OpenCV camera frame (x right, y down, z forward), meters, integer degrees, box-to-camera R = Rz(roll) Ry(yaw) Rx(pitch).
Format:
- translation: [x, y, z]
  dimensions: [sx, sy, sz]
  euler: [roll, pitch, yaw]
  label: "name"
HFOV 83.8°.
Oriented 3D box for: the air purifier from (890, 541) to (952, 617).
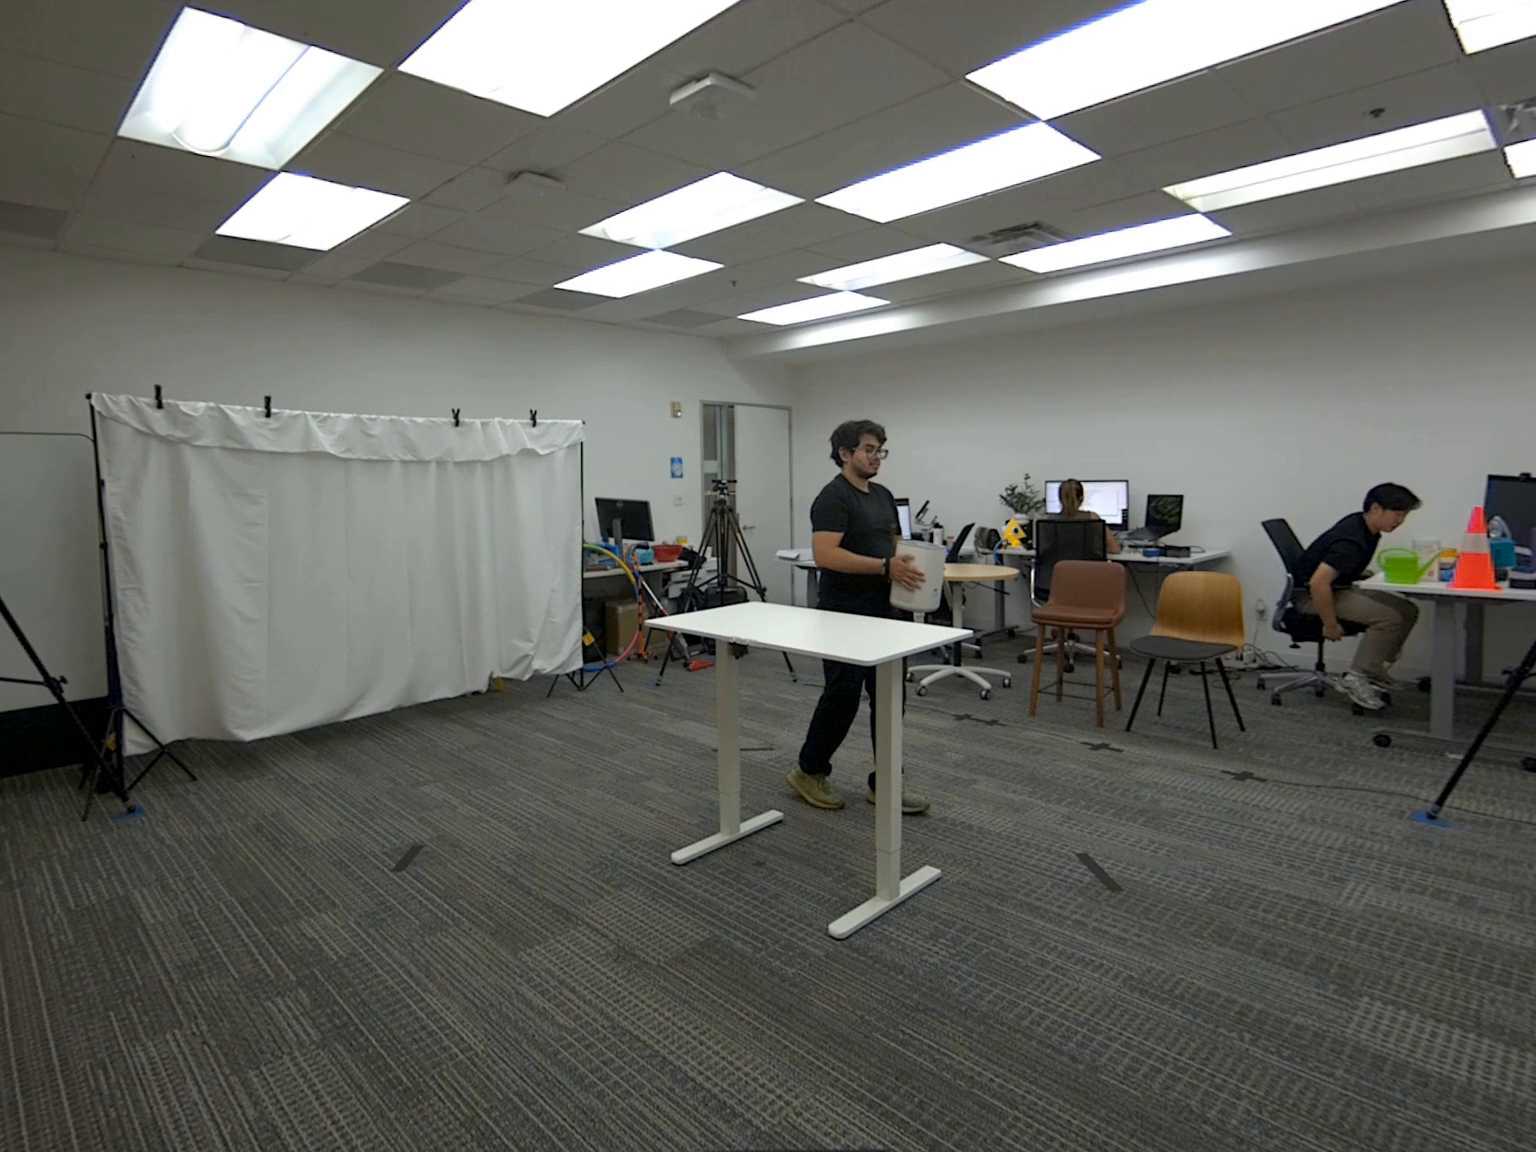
- translation: [0.594, 0.006, 3.417]
  dimensions: [0.177, 0.264, 0.166]
  euler: [11, 8, 40]
  label: "air purifier"
